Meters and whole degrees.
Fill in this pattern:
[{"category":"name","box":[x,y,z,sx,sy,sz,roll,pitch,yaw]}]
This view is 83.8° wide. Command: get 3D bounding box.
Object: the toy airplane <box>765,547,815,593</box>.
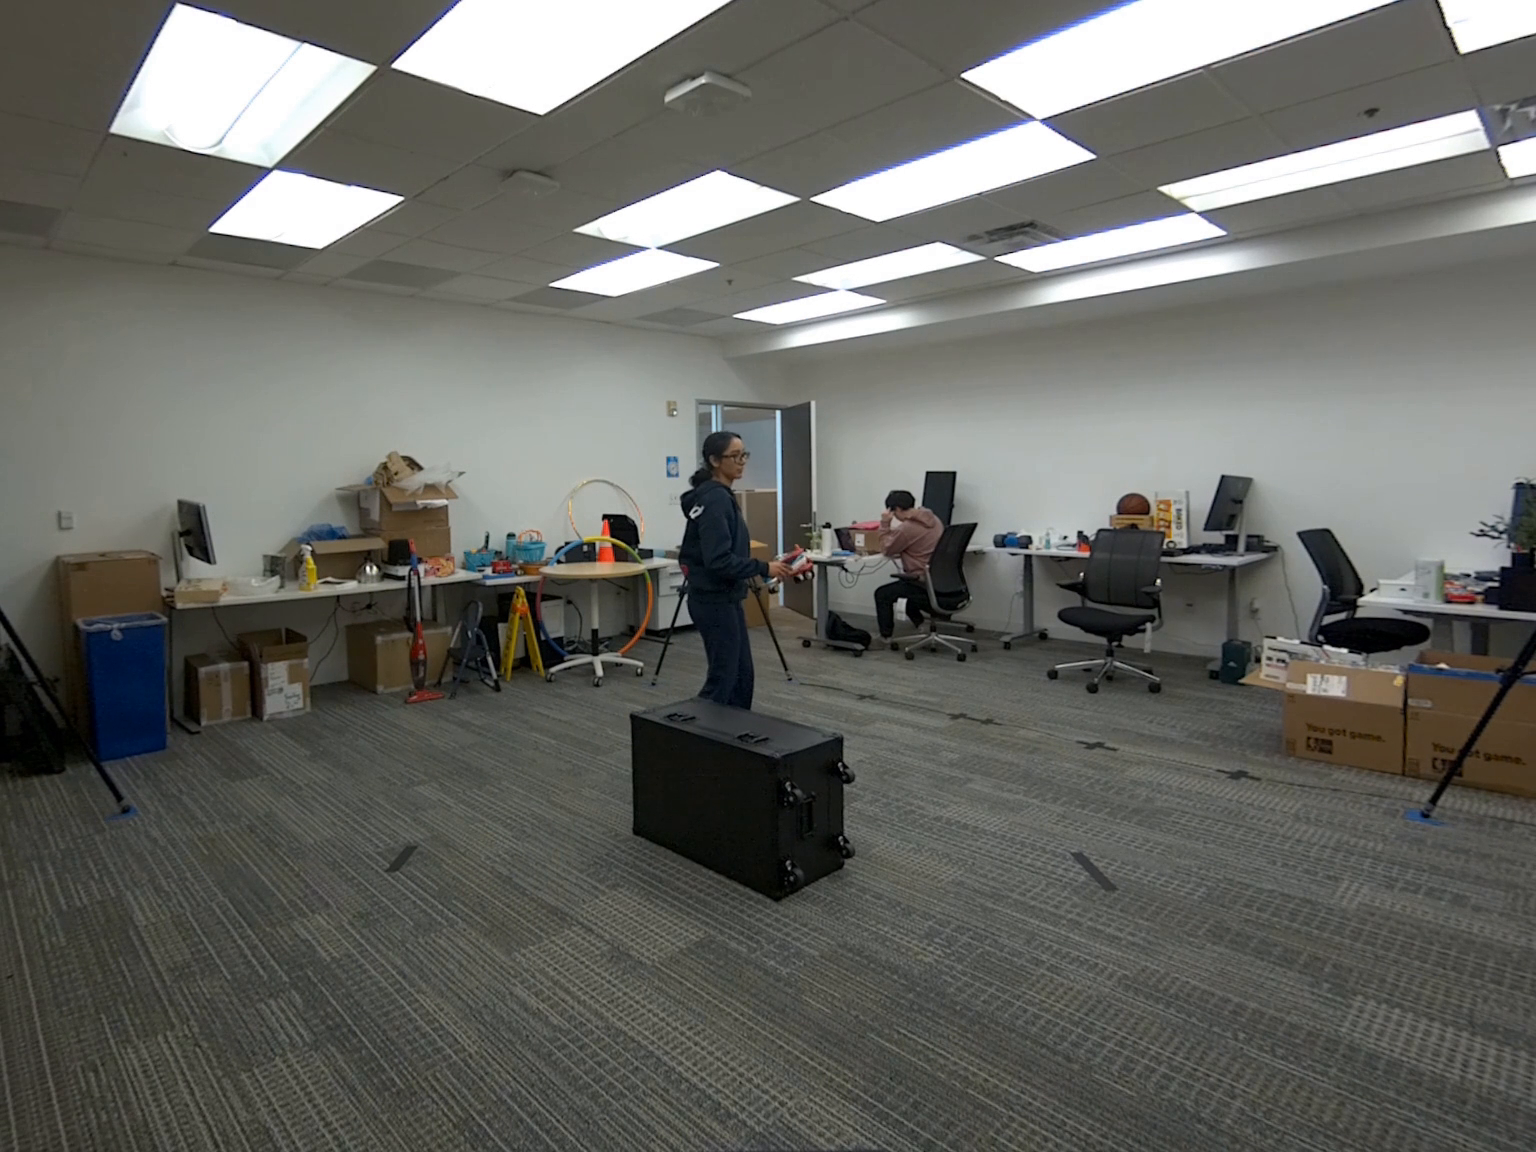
[{"category":"toy airplane","box":[0.088,-0.016,3.917,0.255,0.157,0.254,-21,-3,32]}]
